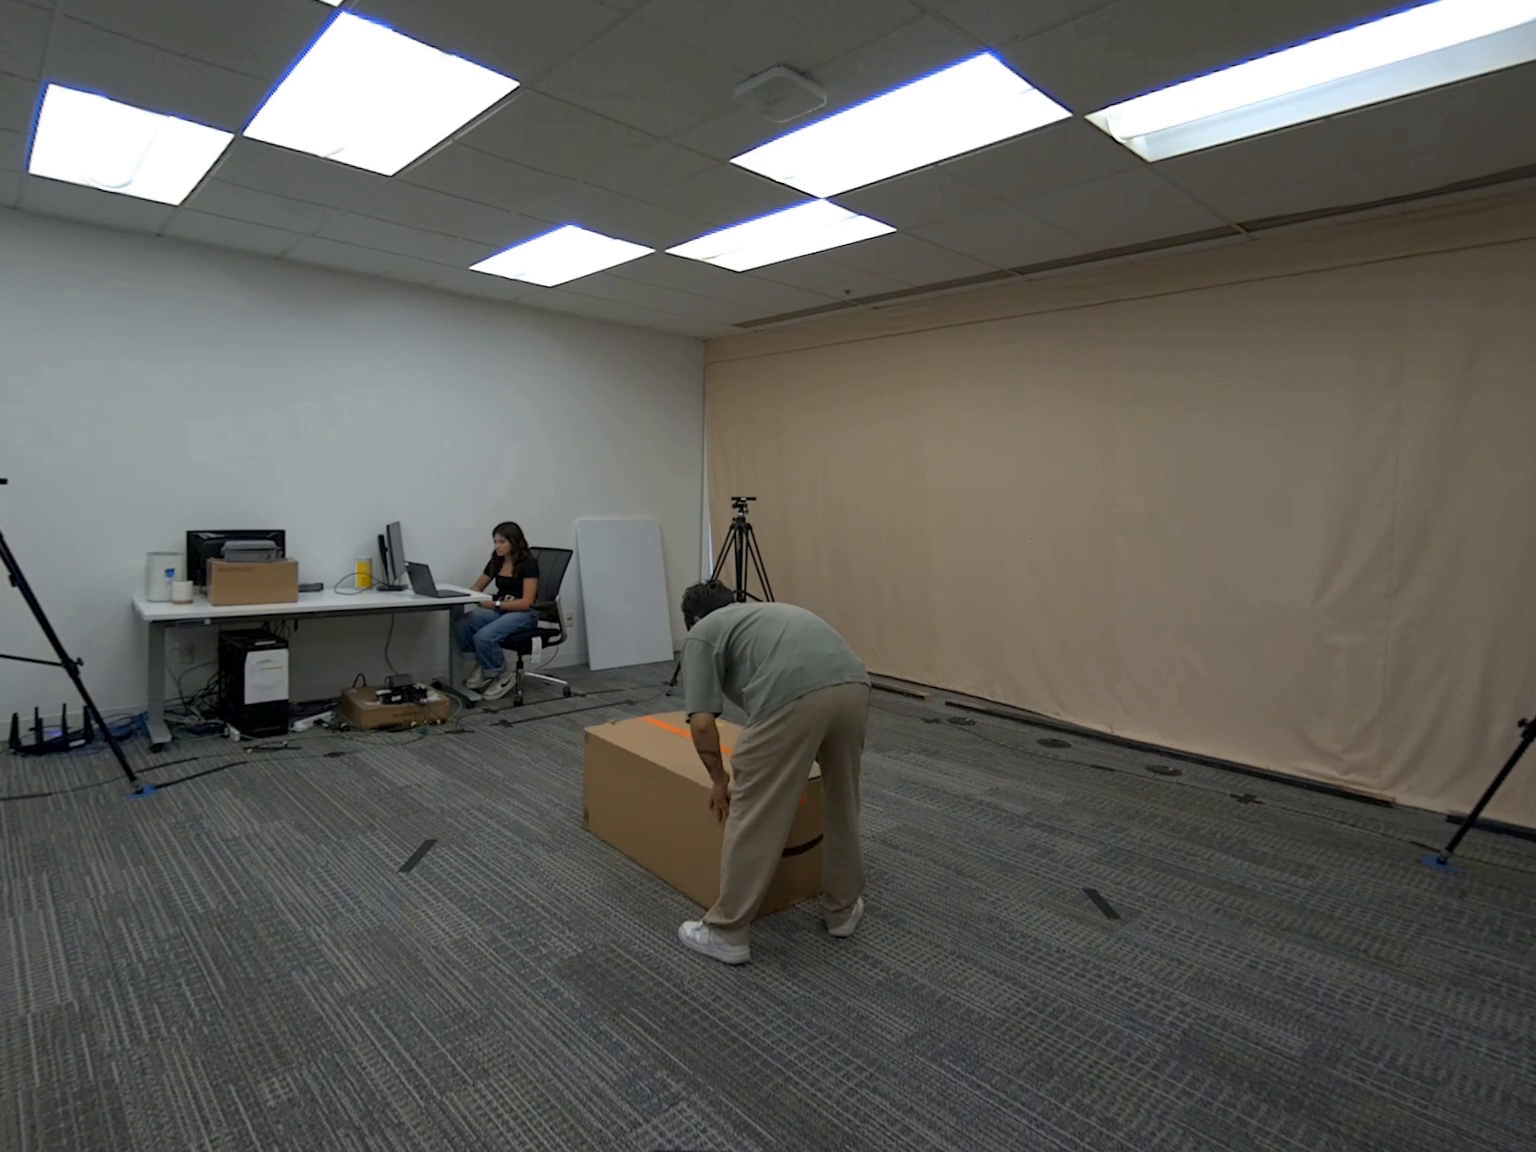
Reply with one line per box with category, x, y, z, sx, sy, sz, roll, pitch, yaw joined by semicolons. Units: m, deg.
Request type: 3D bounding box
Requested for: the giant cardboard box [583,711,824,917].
giant cardboard box;-0.232;0.875;3.300;0.565;0.425;1.052;-3;7;-40
